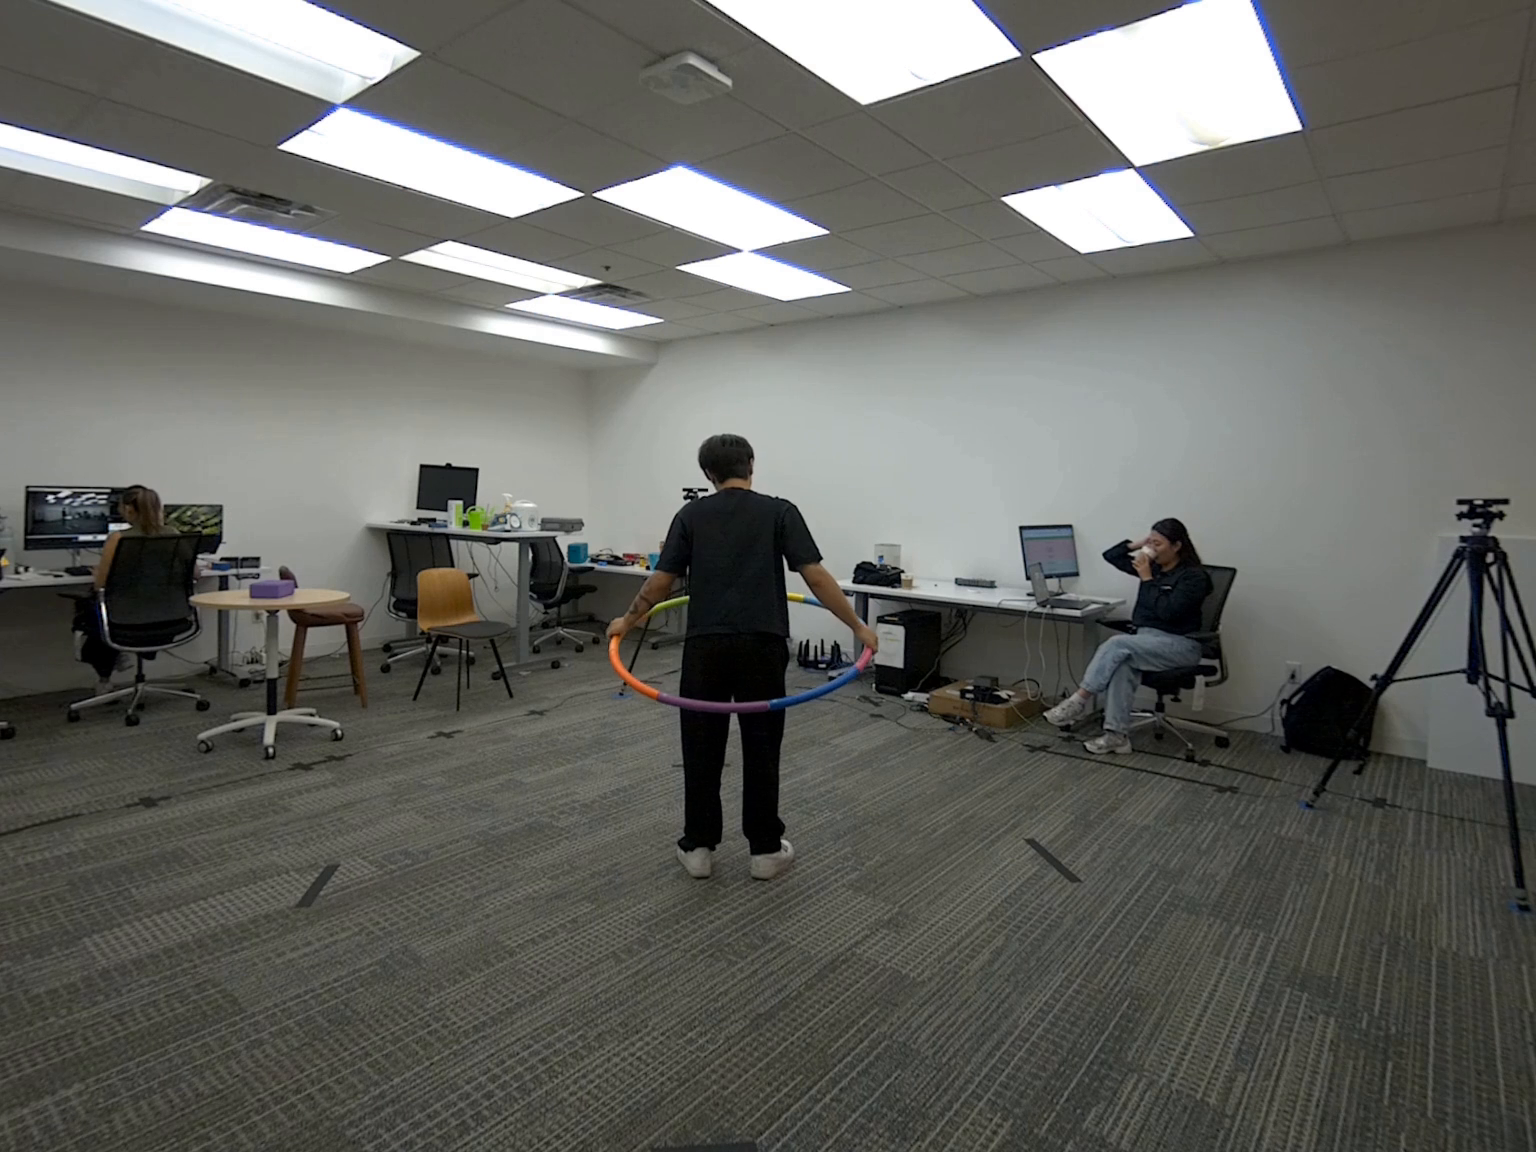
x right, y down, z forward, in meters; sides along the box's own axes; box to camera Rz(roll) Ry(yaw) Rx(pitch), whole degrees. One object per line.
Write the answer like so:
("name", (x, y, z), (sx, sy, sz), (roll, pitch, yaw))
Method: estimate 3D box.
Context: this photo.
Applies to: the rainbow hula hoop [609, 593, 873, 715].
("rainbow hula hoop", (-0.109, 0.237, 3.185), (0.979, 0.035, 0.998), (-2, 21, -1))
